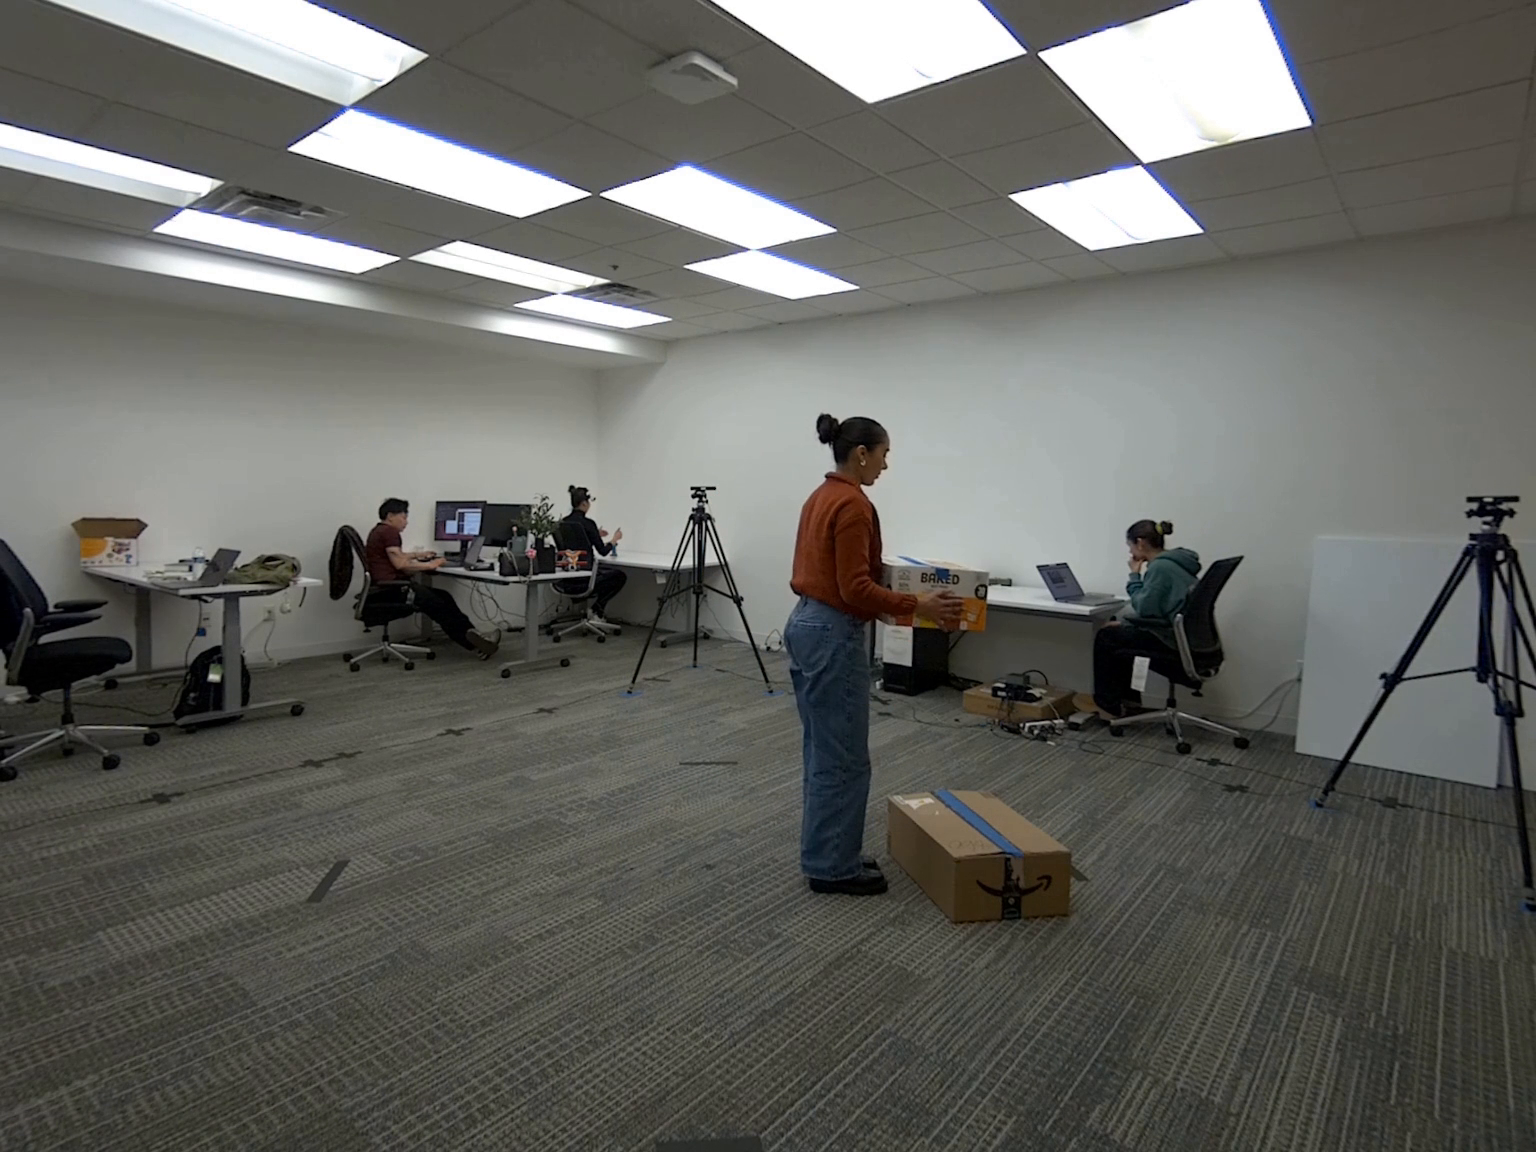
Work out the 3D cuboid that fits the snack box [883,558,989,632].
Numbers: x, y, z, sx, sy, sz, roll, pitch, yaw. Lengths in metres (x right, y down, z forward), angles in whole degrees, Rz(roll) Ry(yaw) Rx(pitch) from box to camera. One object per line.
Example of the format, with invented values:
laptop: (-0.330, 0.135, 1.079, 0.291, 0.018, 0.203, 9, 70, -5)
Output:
snack box: (0.526, 0.060, 3.021, 0.336, 0.205, 0.411, 4, 5, -11)
